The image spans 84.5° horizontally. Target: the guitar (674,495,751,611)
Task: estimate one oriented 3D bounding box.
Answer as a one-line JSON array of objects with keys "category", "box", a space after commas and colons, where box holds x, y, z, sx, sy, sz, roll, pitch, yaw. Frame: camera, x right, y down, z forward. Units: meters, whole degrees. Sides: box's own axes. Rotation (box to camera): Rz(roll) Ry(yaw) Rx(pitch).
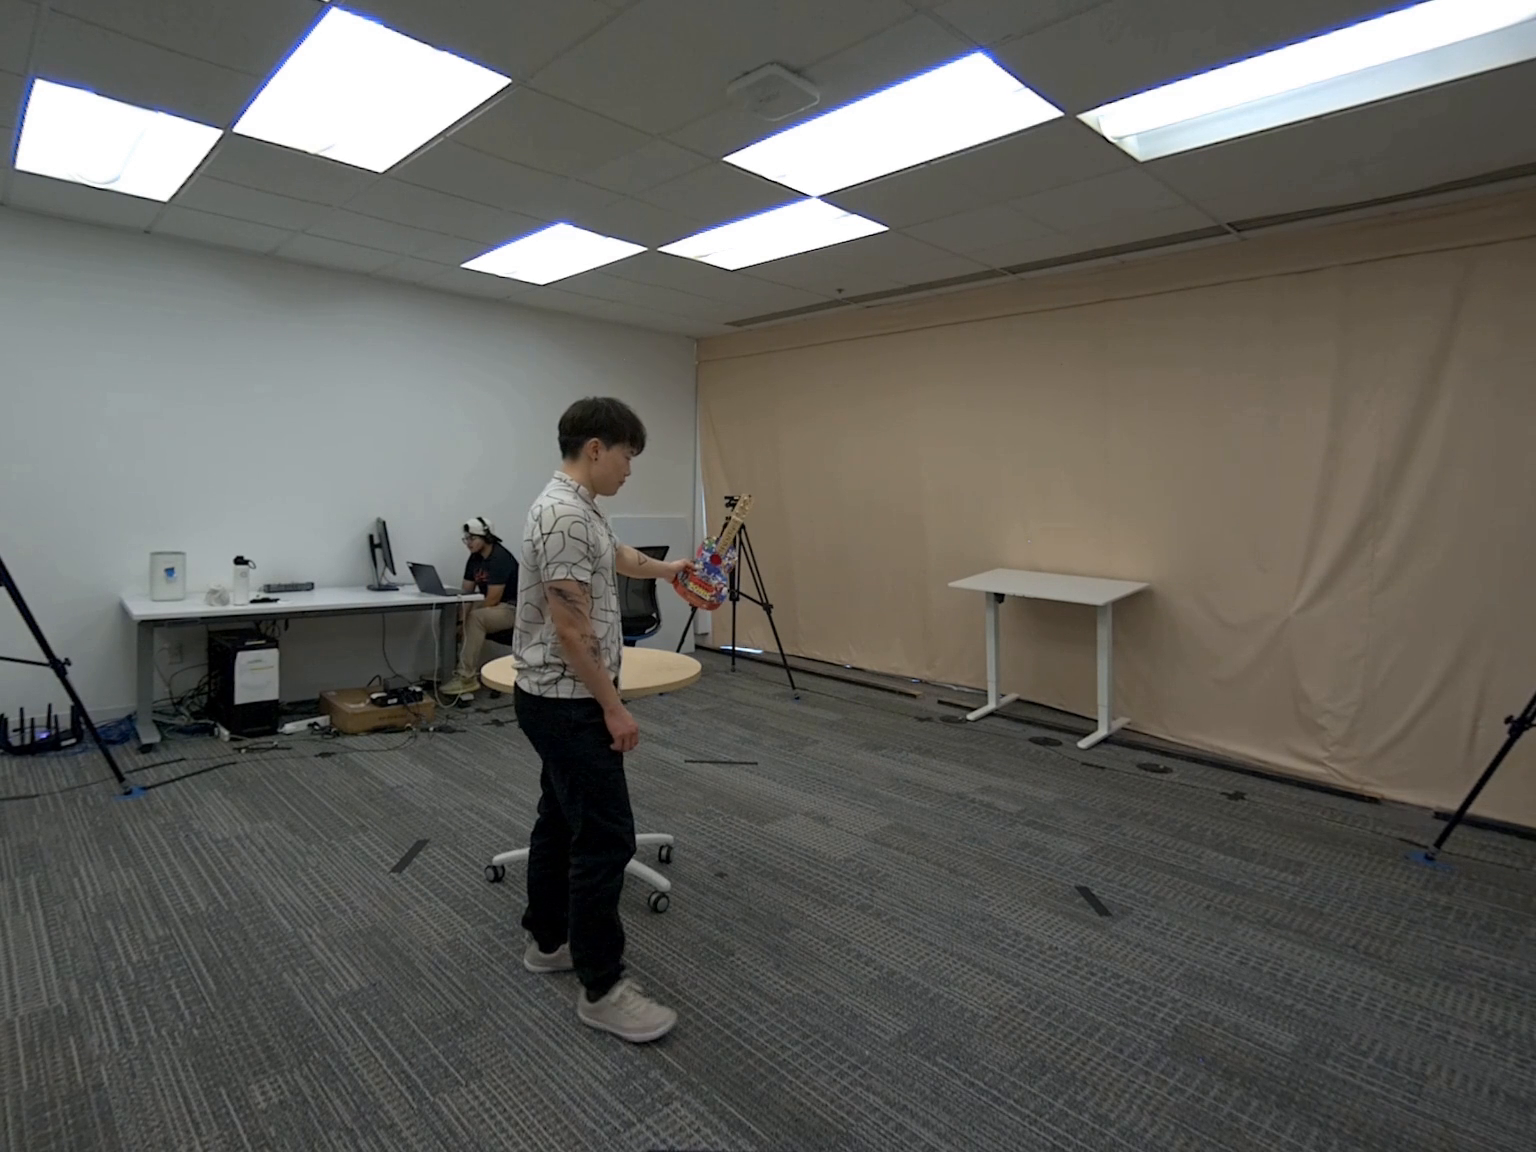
[{"category": "guitar", "box": [-0.160, -0.088, 3.082, 0.192, 0.500, 0.070, 37, -34, -3]}]
